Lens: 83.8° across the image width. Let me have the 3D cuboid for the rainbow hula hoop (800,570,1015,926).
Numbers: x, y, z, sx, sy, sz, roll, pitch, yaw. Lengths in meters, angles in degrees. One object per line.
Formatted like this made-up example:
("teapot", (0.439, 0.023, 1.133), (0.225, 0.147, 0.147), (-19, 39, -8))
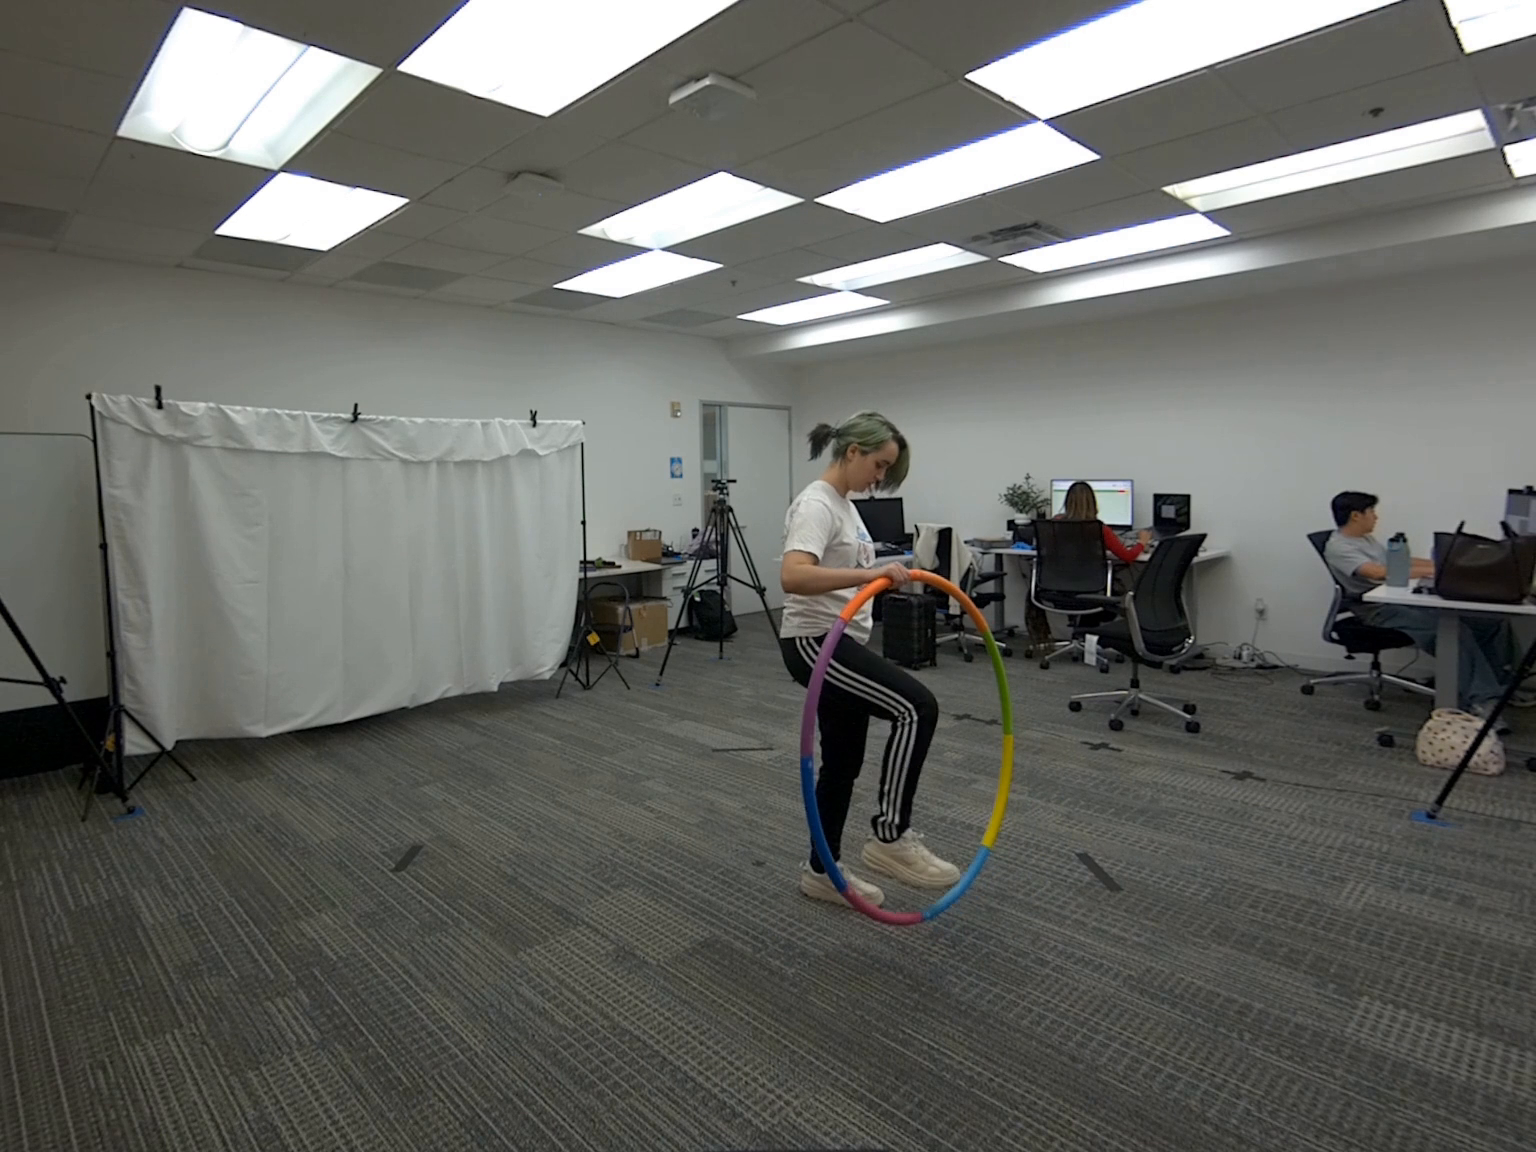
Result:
("rainbow hula hoop", (0.437, 0.481, 2.476), (0.953, 0.980, 0.036), (-5, -2, -43))
